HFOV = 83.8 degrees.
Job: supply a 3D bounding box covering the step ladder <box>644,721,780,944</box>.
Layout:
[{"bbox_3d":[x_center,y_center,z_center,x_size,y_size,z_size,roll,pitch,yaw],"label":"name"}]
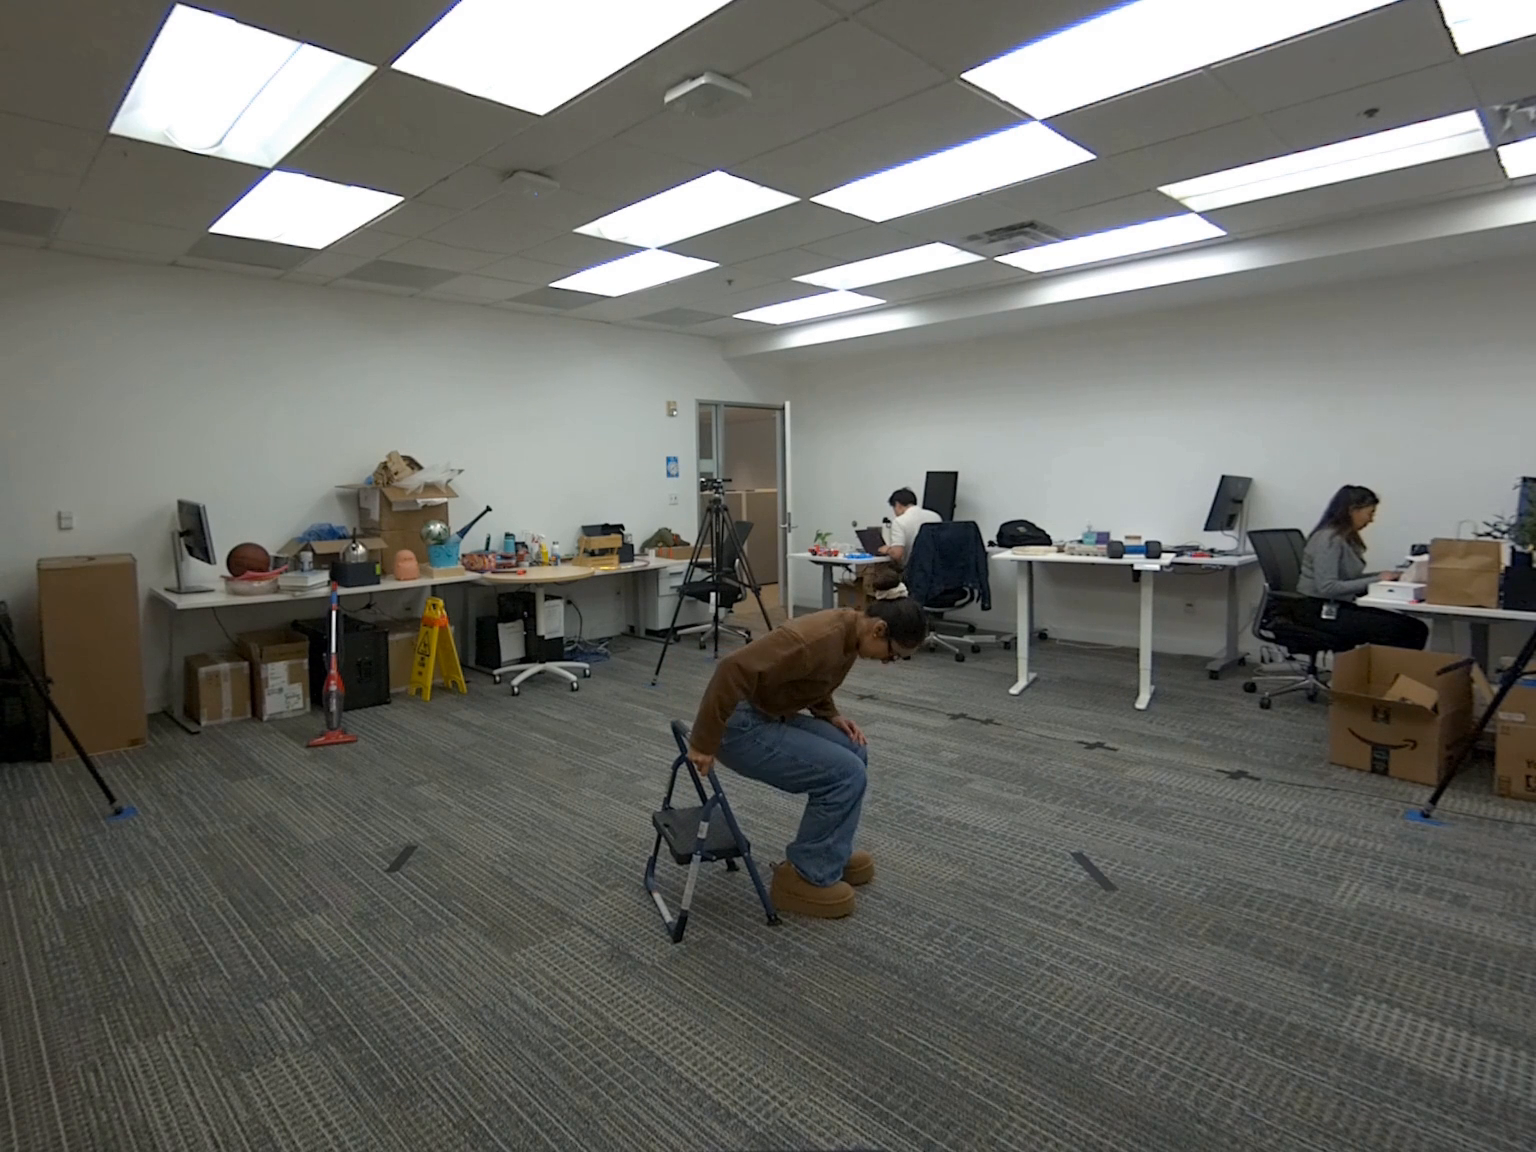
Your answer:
[{"bbox_3d":[-0.196,0.782,2.806,0.343,0.604,0.440,-2,5,-21],"label":"step ladder"}]
